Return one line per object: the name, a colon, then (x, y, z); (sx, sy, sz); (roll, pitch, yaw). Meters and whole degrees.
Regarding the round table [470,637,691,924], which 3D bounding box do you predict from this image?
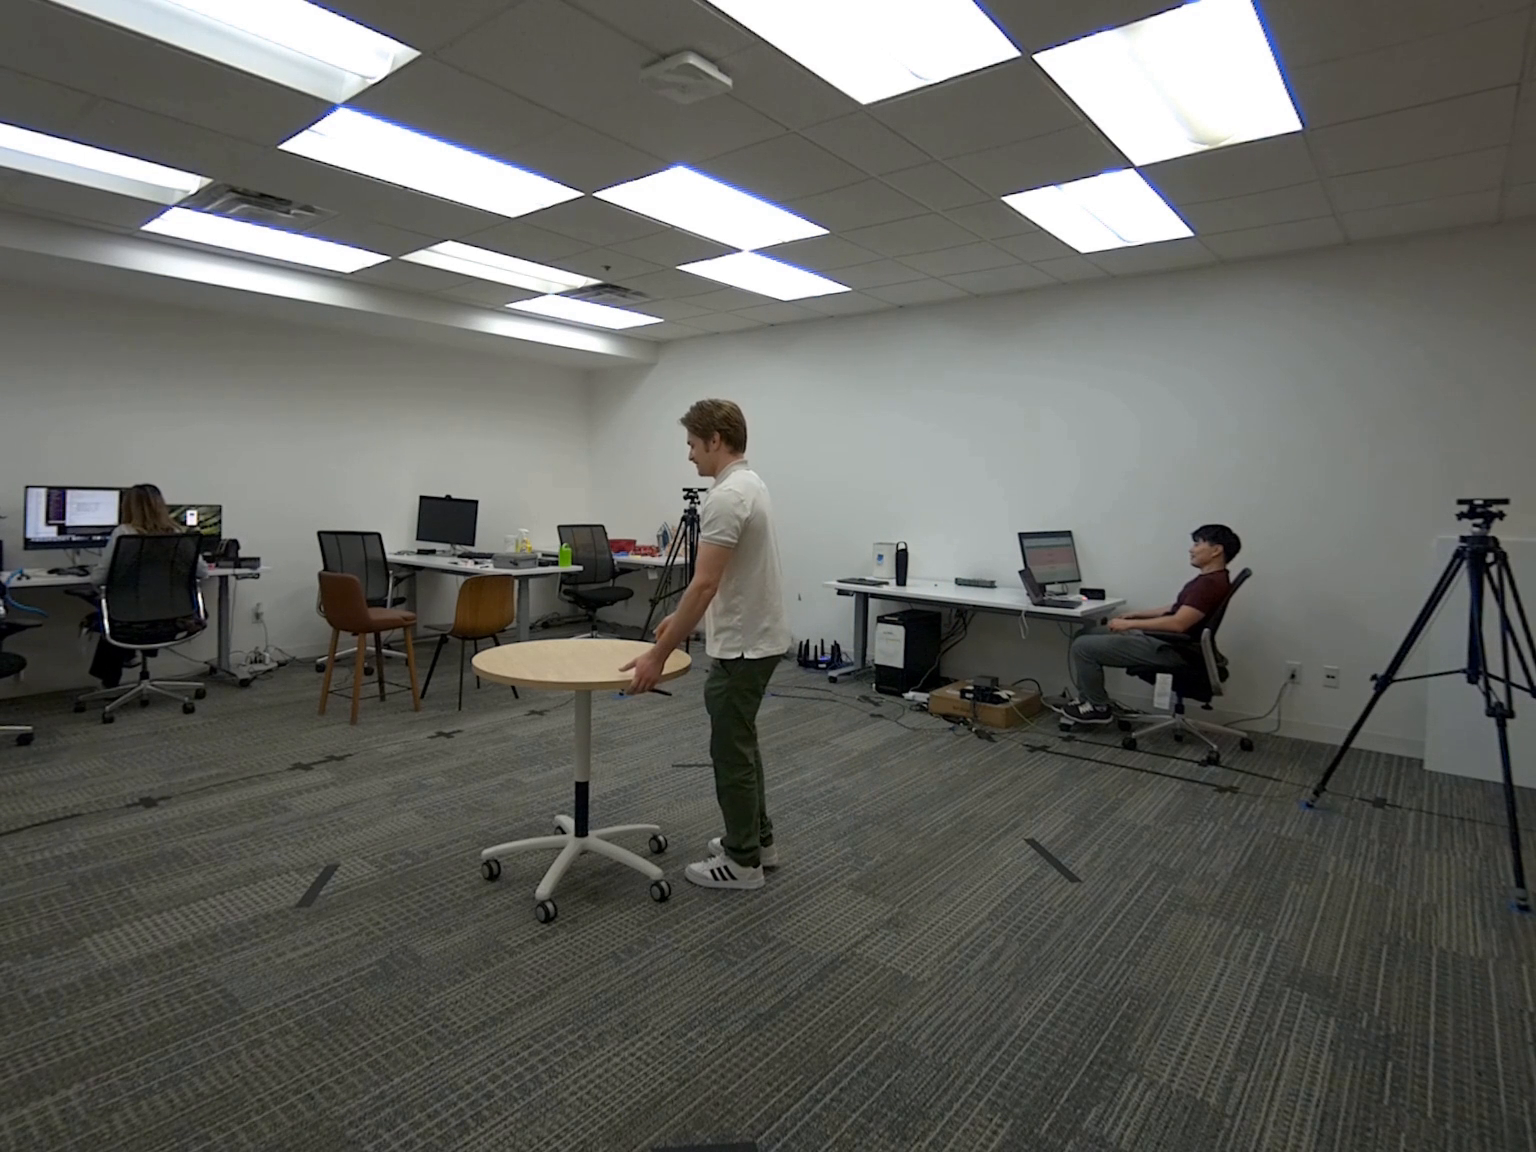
round table: (-0.670, 0.682, 3.039); (0.763, 0.791, 0.768); (1, 4, -2)
